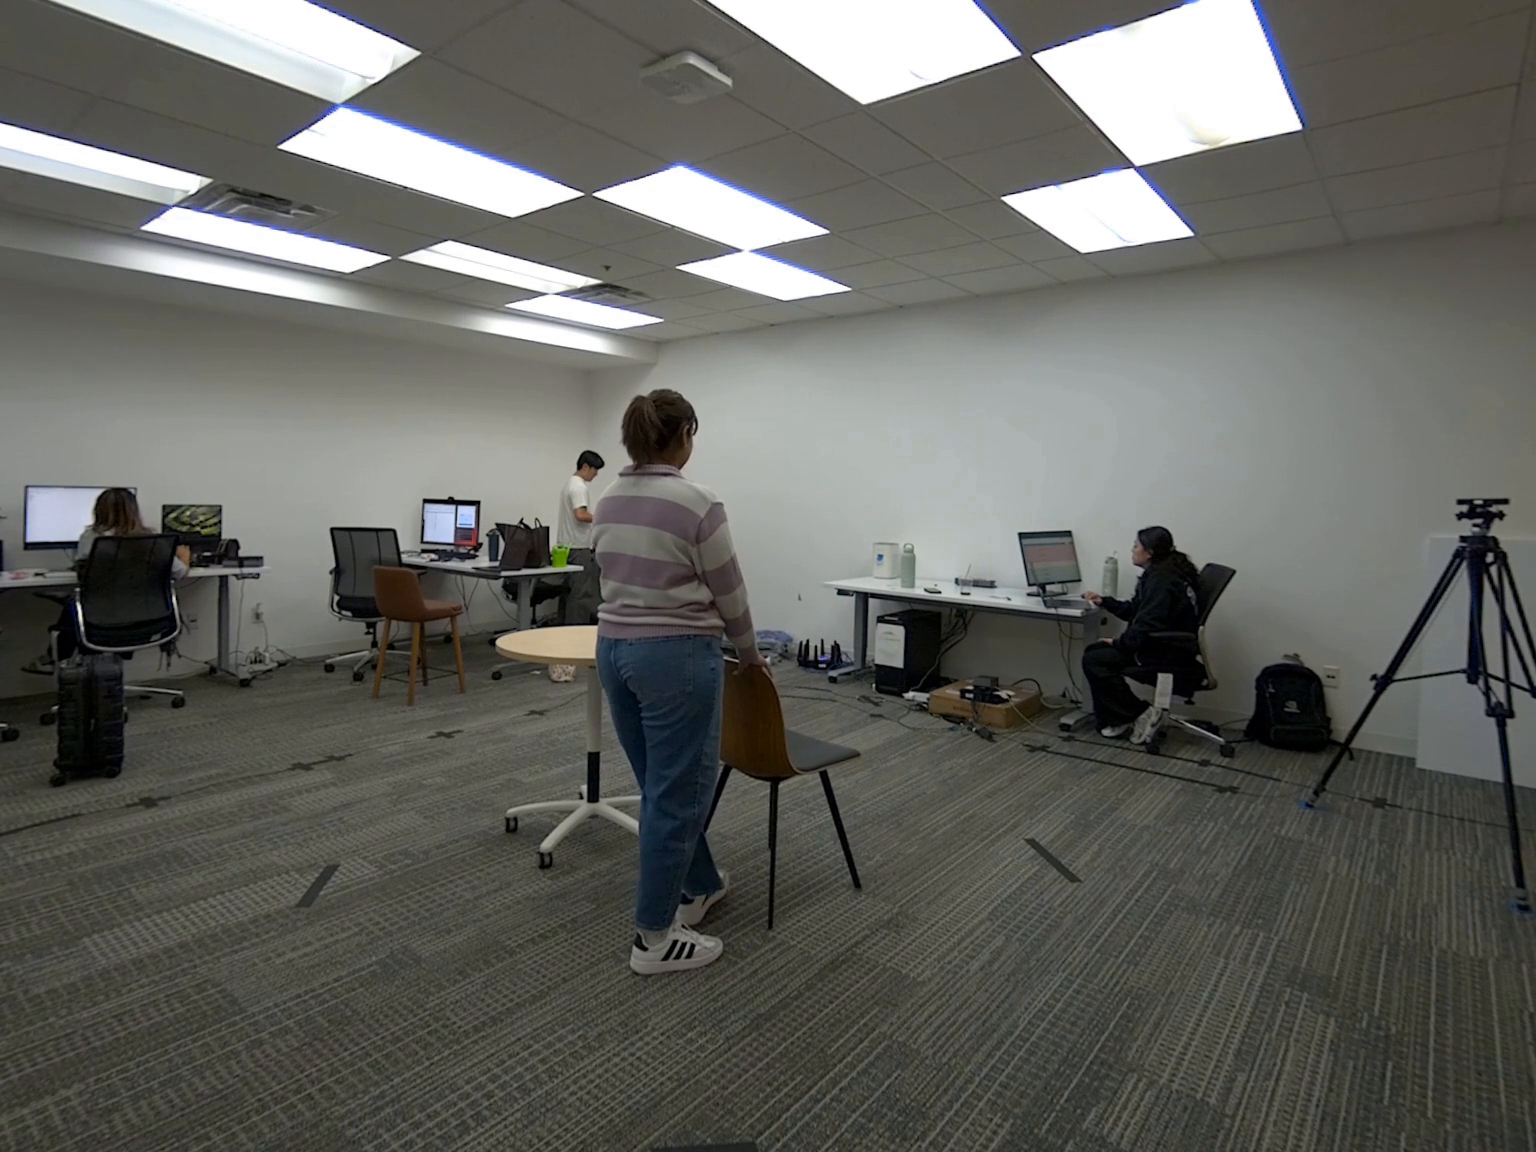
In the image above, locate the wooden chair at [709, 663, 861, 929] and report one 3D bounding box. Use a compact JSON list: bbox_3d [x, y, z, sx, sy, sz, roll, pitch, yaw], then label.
[{"bbox_3d":[0.015,0.659,2.977,0.509,0.872,0.494,-8,8,-42],"label":"wooden chair"}]
